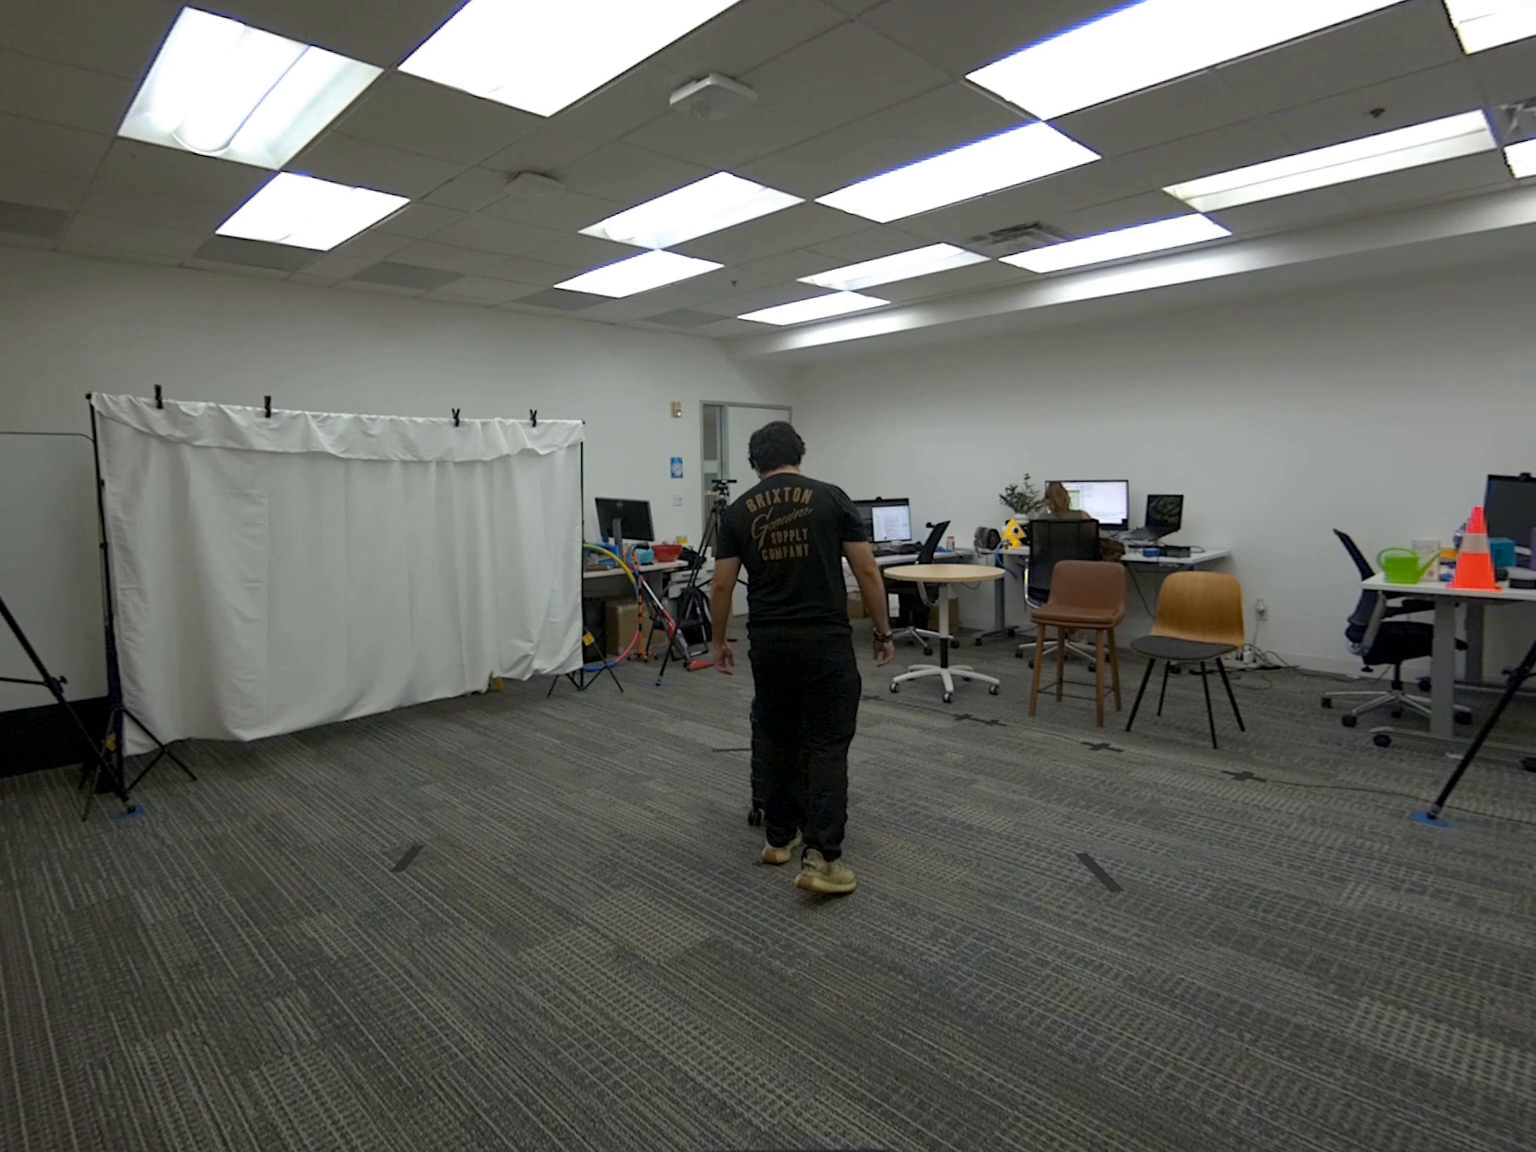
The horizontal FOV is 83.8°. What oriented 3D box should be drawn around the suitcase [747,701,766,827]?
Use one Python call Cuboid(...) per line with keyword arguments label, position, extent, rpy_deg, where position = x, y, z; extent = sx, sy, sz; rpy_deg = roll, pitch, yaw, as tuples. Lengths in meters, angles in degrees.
Cuboid(label="suitcase", position=(0.133, 0.727, 3.460), extent=(0.386, 0.547, 0.242), rpy_deg=(3, 5, 36))
